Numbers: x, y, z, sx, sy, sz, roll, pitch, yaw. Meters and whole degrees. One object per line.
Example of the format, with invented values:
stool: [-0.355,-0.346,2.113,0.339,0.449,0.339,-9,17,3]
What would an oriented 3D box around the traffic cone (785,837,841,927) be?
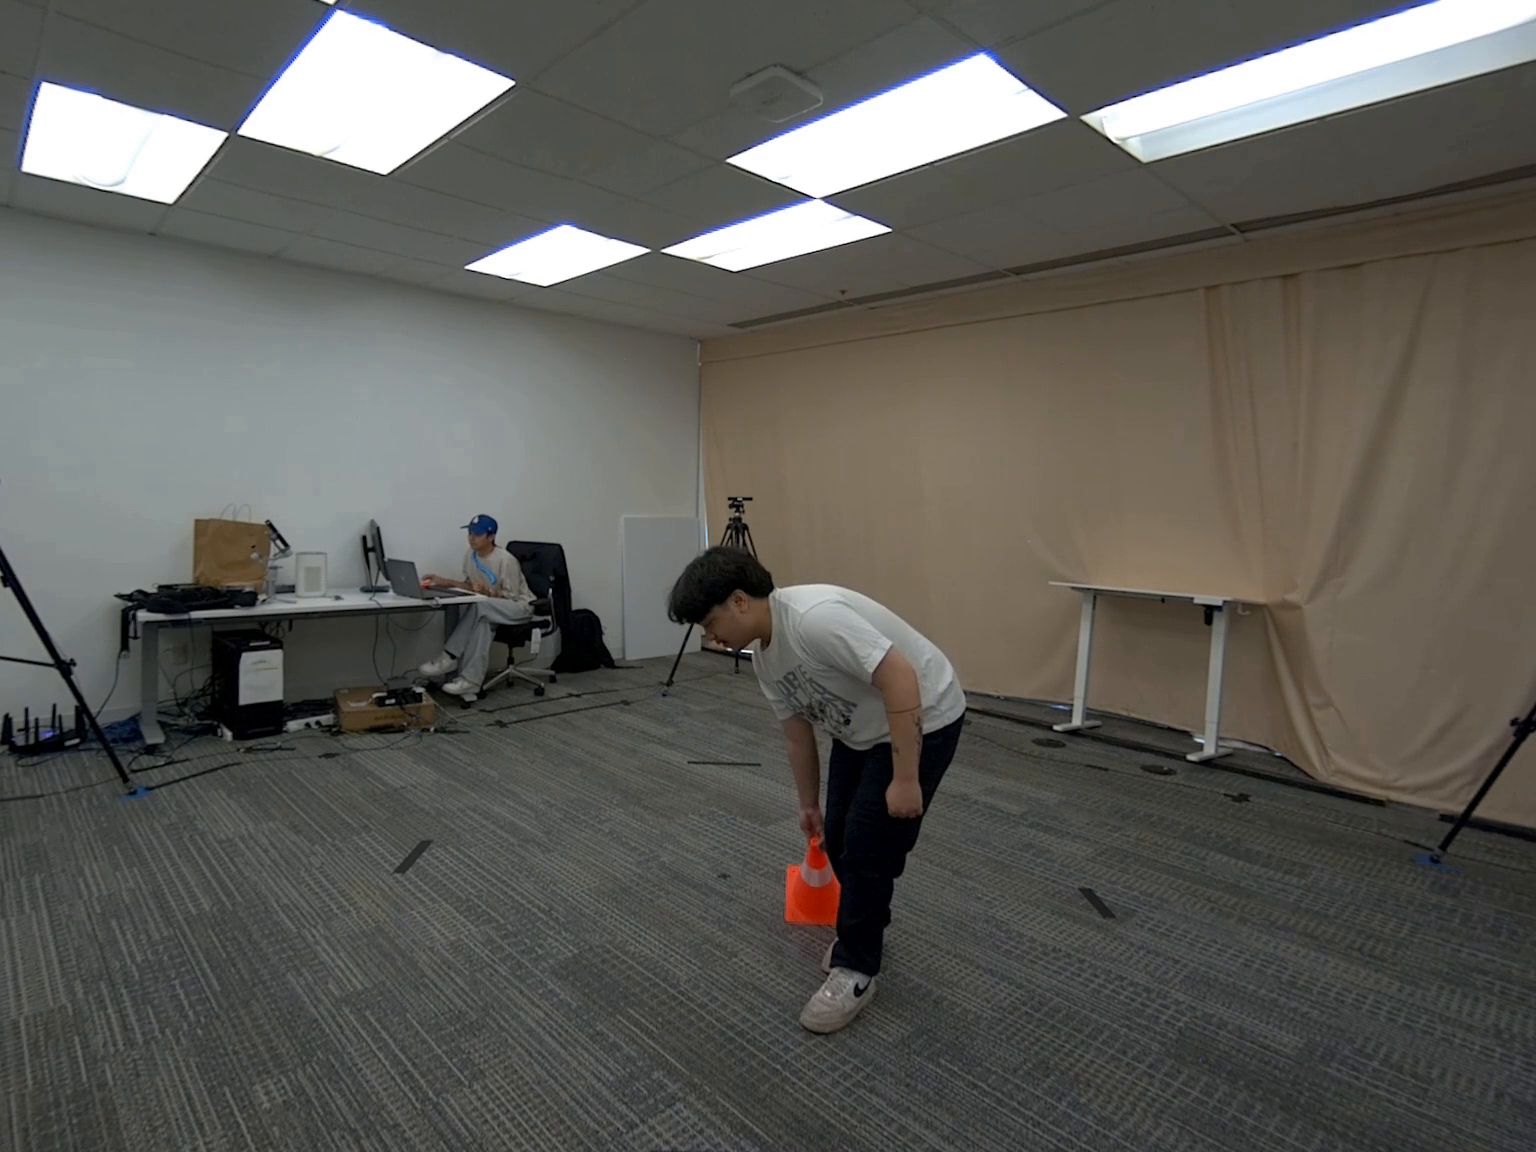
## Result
traffic cone: [0.149,0.946,2.706,0.207,0.374,0.206,5,45,9]
